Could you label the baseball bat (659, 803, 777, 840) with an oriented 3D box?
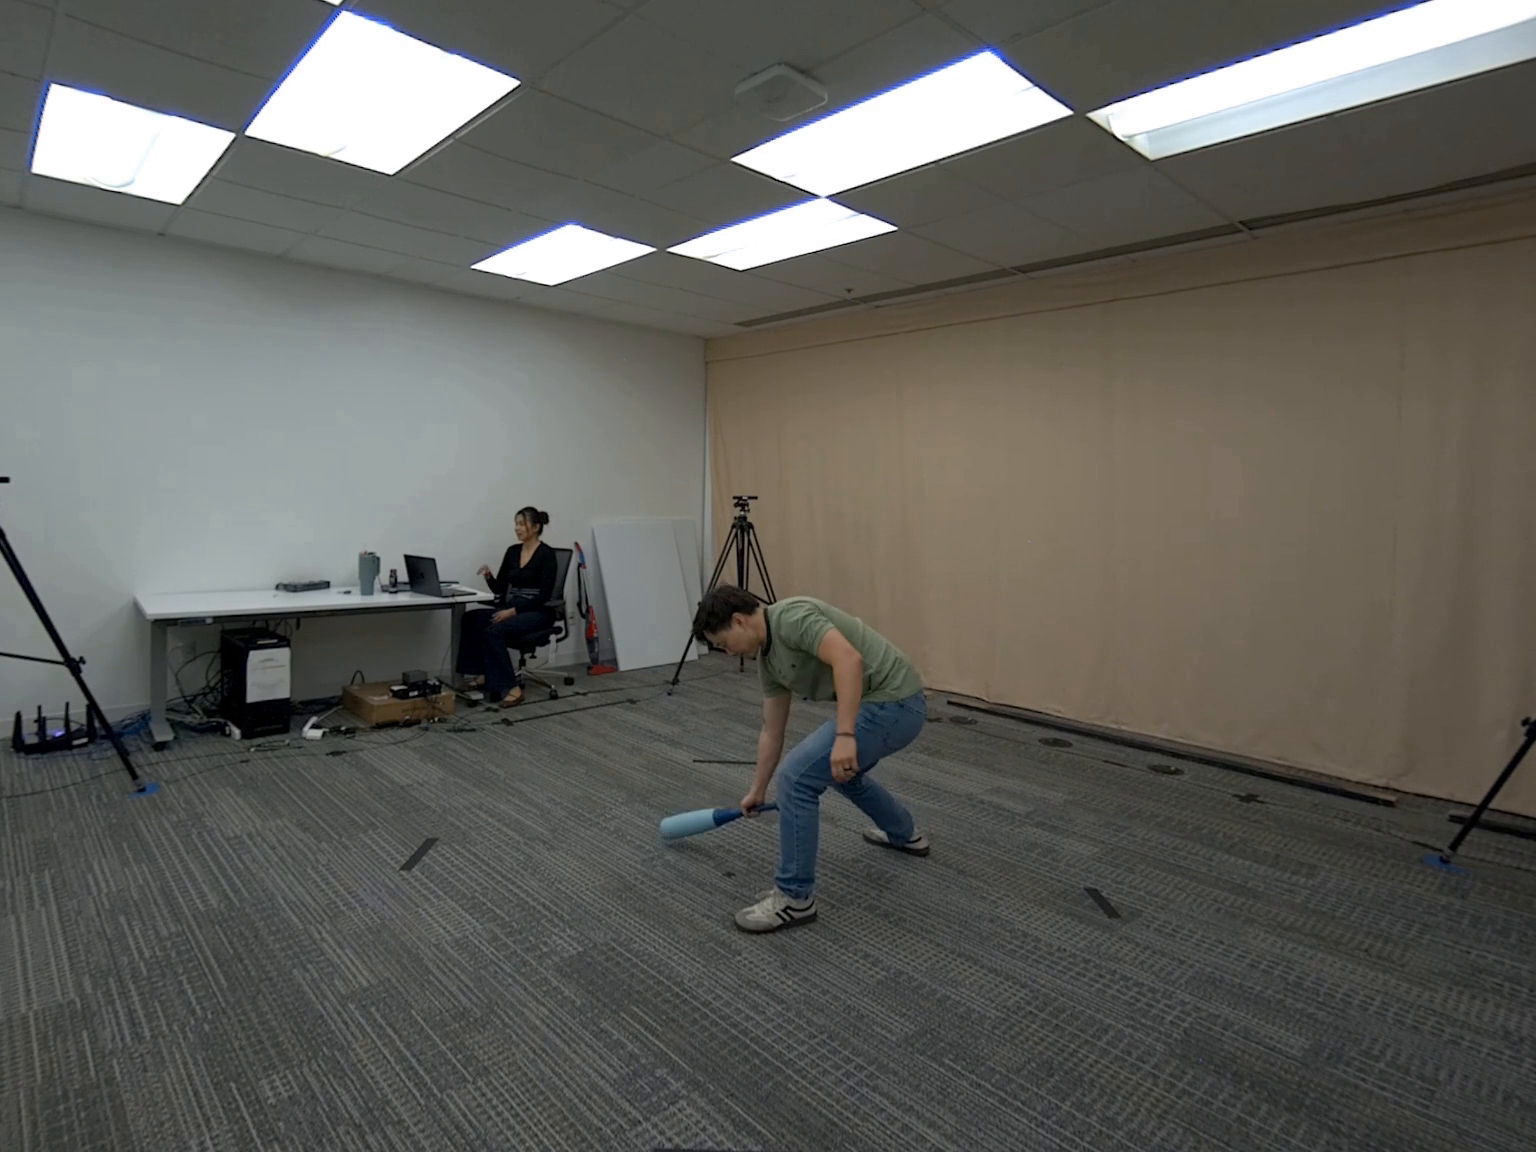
[{"bbox_3d":[-0.189,0.917,3.216,0.549,0.089,0.088,-19,-4,22],"label":"baseball bat"}]
